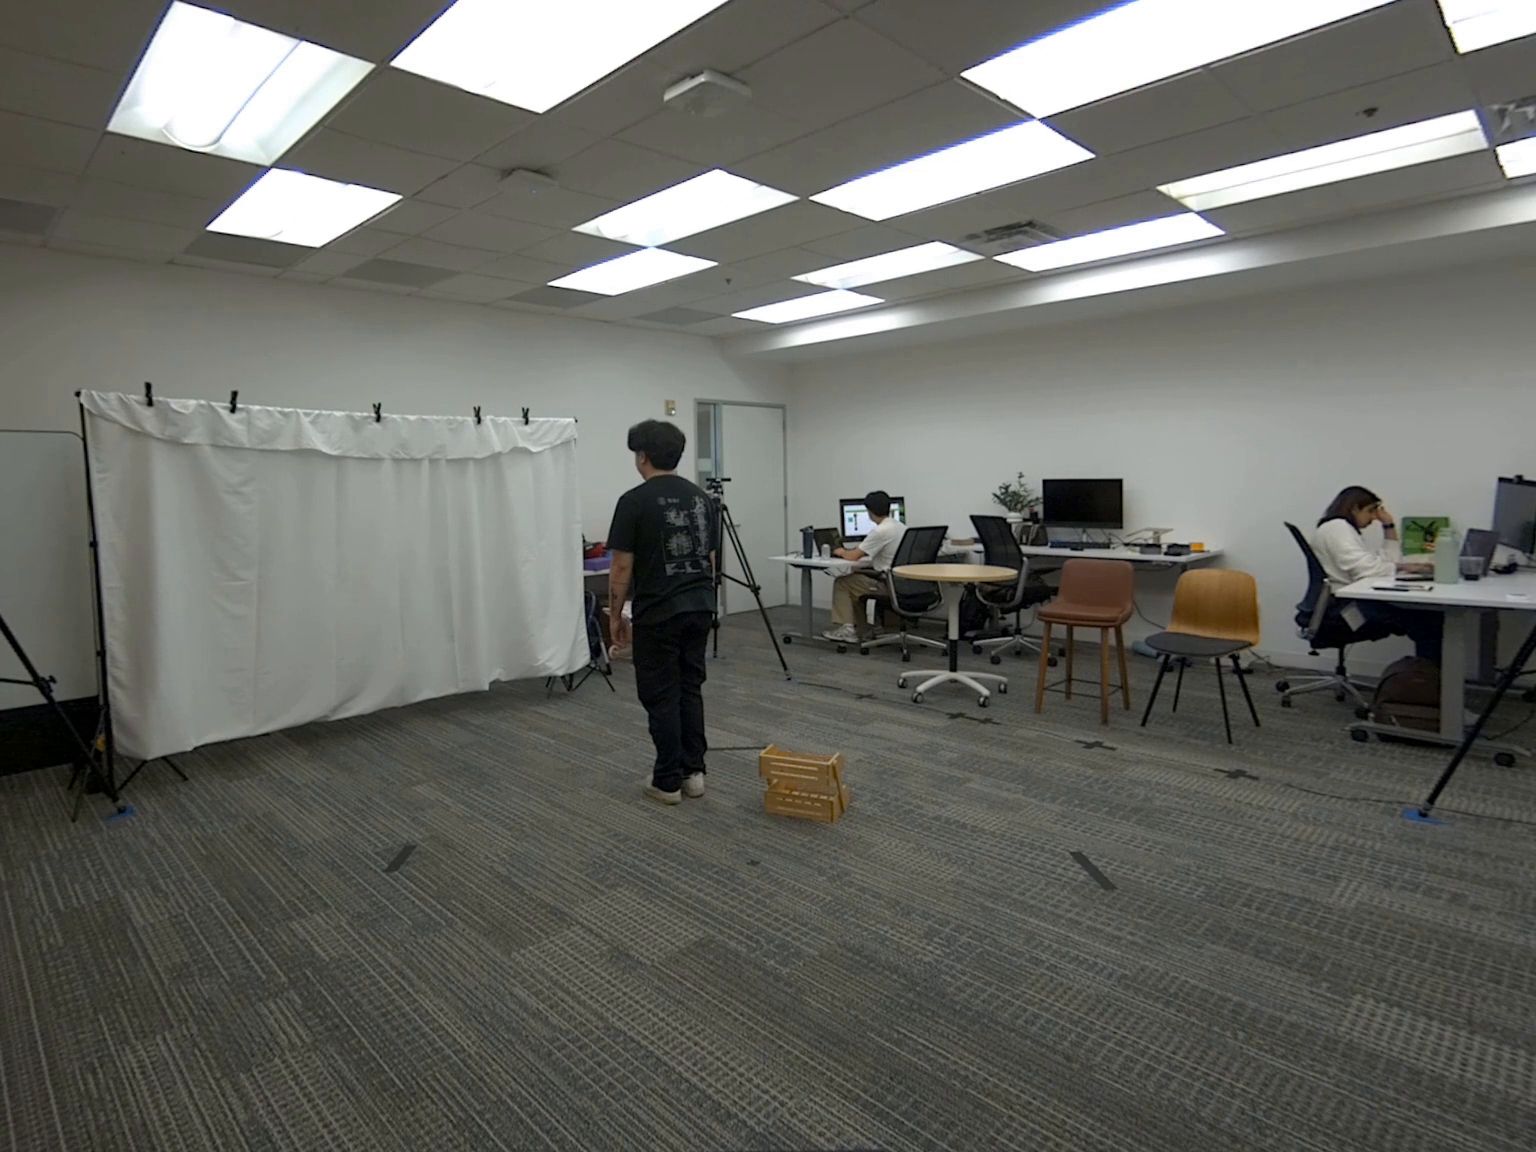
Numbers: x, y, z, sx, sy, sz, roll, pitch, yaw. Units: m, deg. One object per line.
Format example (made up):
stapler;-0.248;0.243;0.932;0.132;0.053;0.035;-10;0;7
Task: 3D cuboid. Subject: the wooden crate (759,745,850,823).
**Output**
wooden crate;0.163;0.850;3.599;0.332;0.272;0.297;1;6;23
